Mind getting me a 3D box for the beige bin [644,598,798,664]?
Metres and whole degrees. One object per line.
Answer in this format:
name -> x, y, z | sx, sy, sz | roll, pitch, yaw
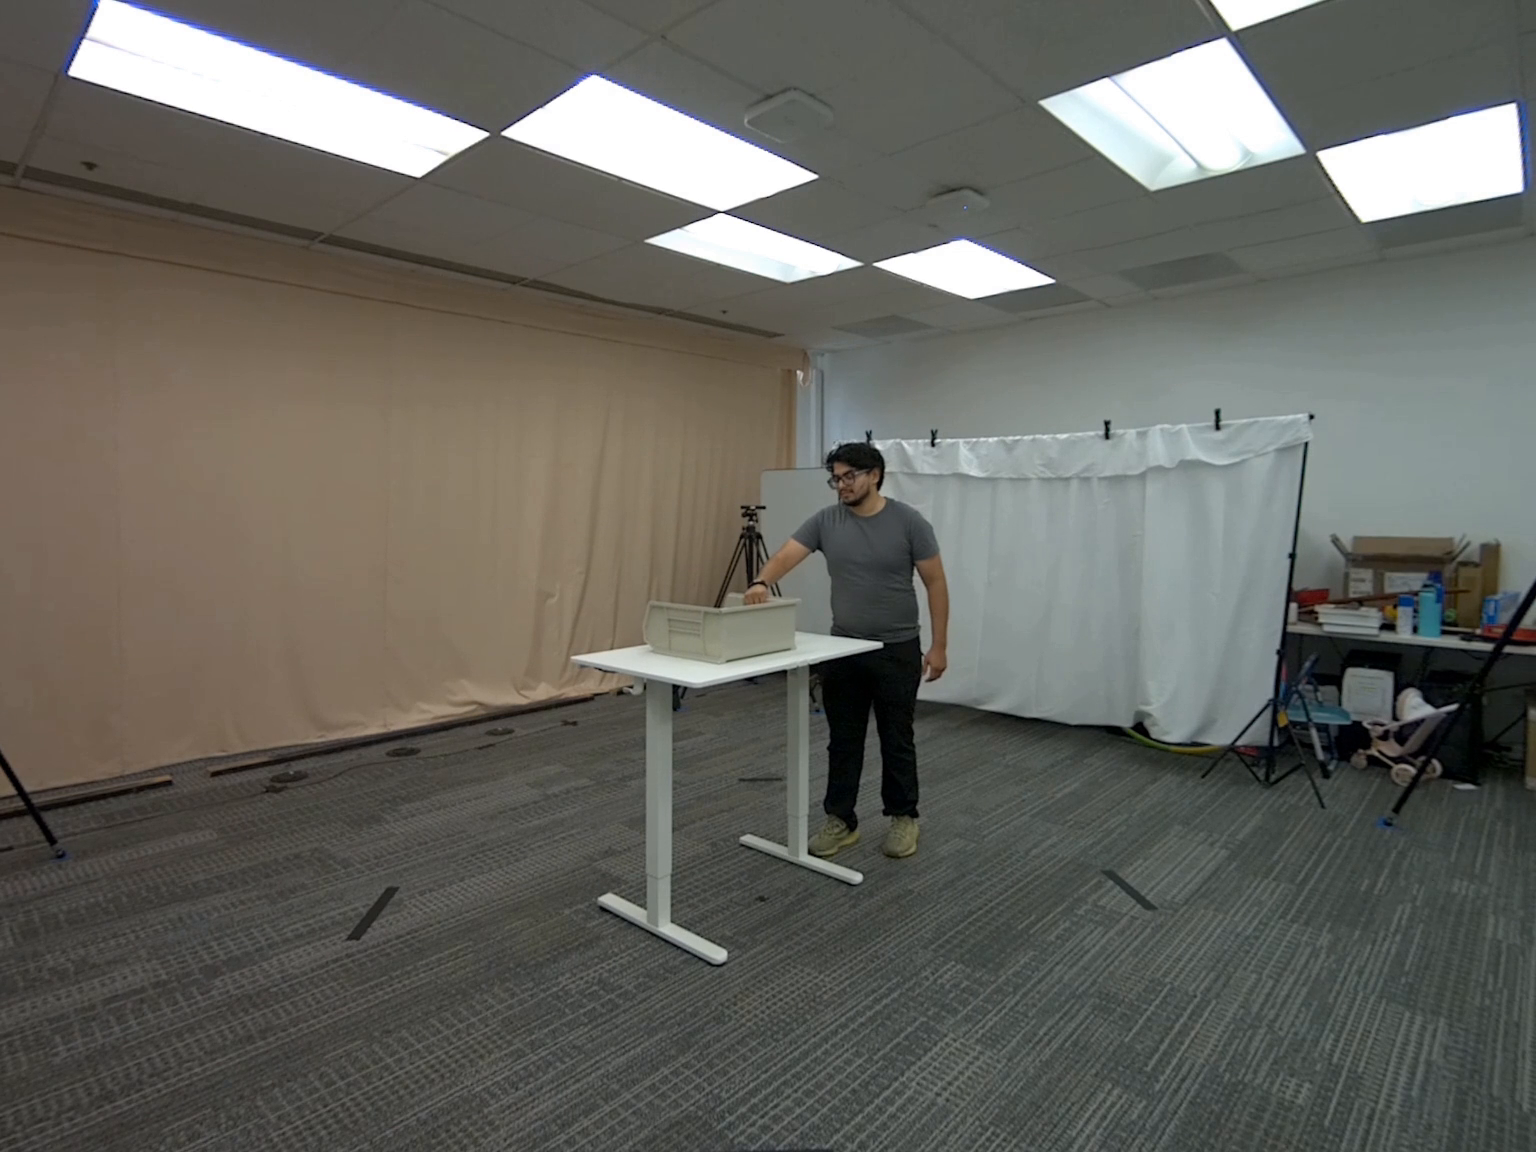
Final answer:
beige bin -> -0.160, 0.173, 2.958 | 0.390, 0.188, 0.409 | 6, 7, 41
